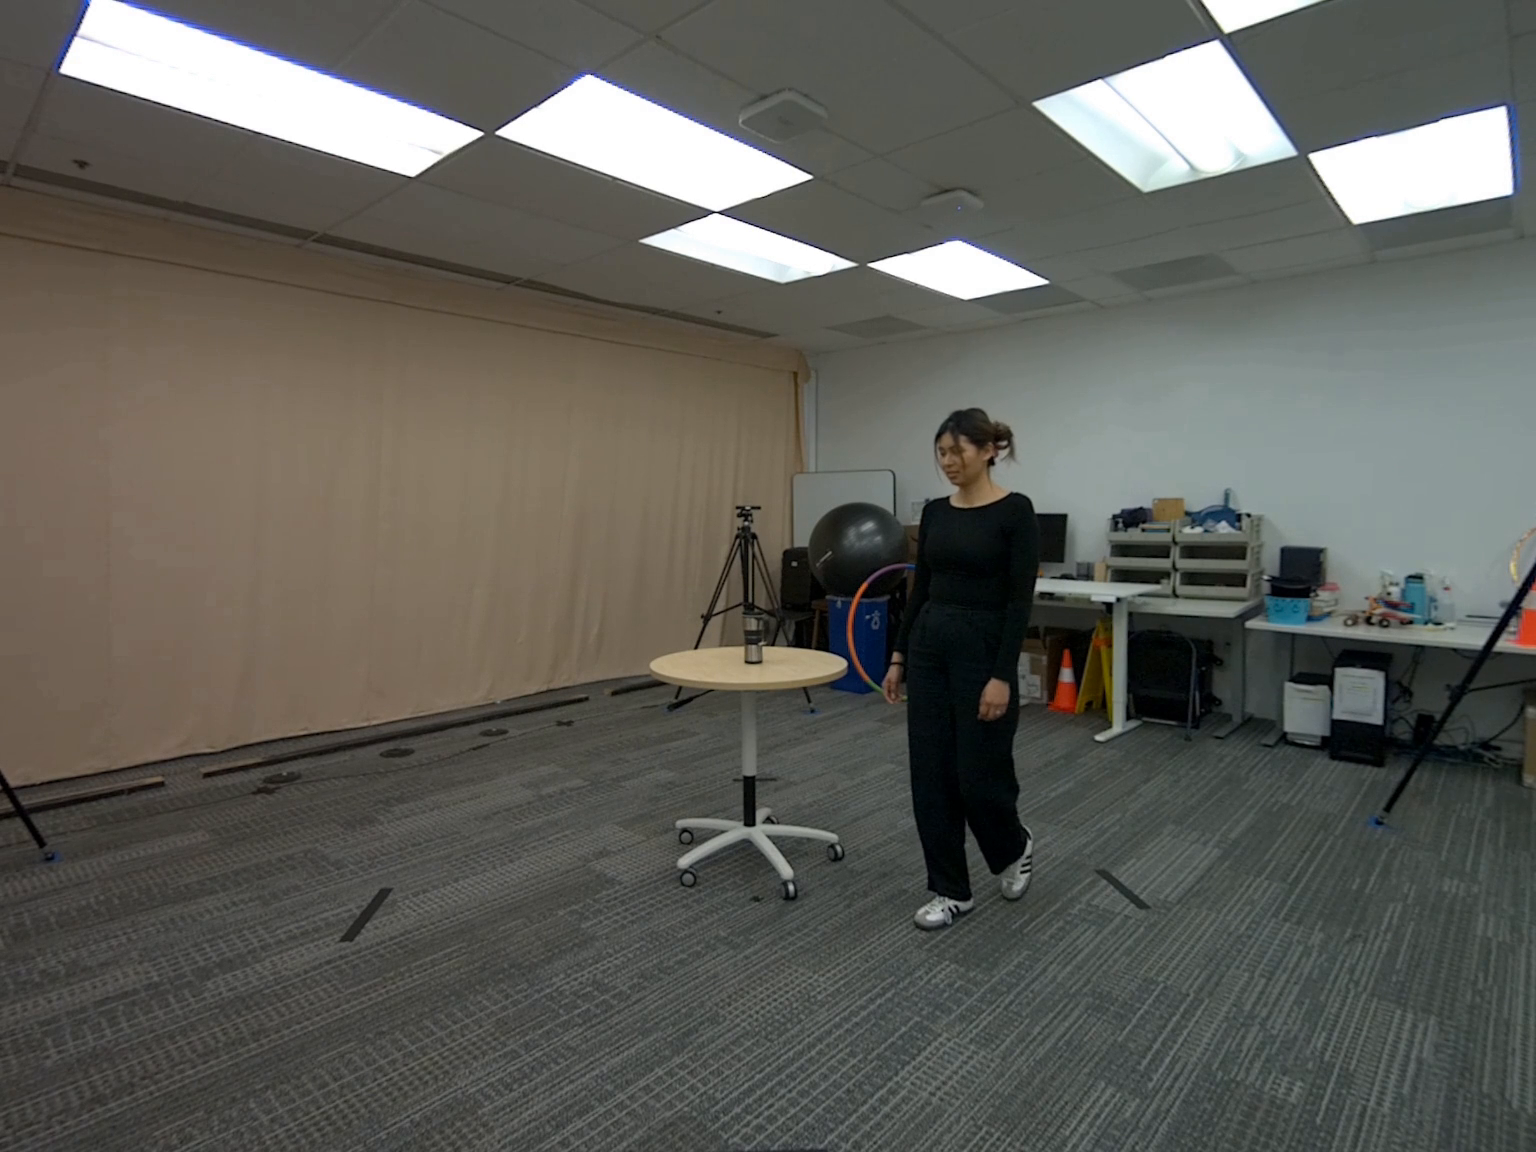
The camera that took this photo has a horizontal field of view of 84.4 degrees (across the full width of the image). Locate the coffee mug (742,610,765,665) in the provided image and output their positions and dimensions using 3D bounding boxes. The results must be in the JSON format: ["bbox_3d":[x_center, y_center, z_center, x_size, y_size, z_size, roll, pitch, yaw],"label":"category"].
[{"bbox_3d":[-0.068,0.240,3.255,0.118,0.202,0.091,1,6,-41],"label":"coffee mug"}]
